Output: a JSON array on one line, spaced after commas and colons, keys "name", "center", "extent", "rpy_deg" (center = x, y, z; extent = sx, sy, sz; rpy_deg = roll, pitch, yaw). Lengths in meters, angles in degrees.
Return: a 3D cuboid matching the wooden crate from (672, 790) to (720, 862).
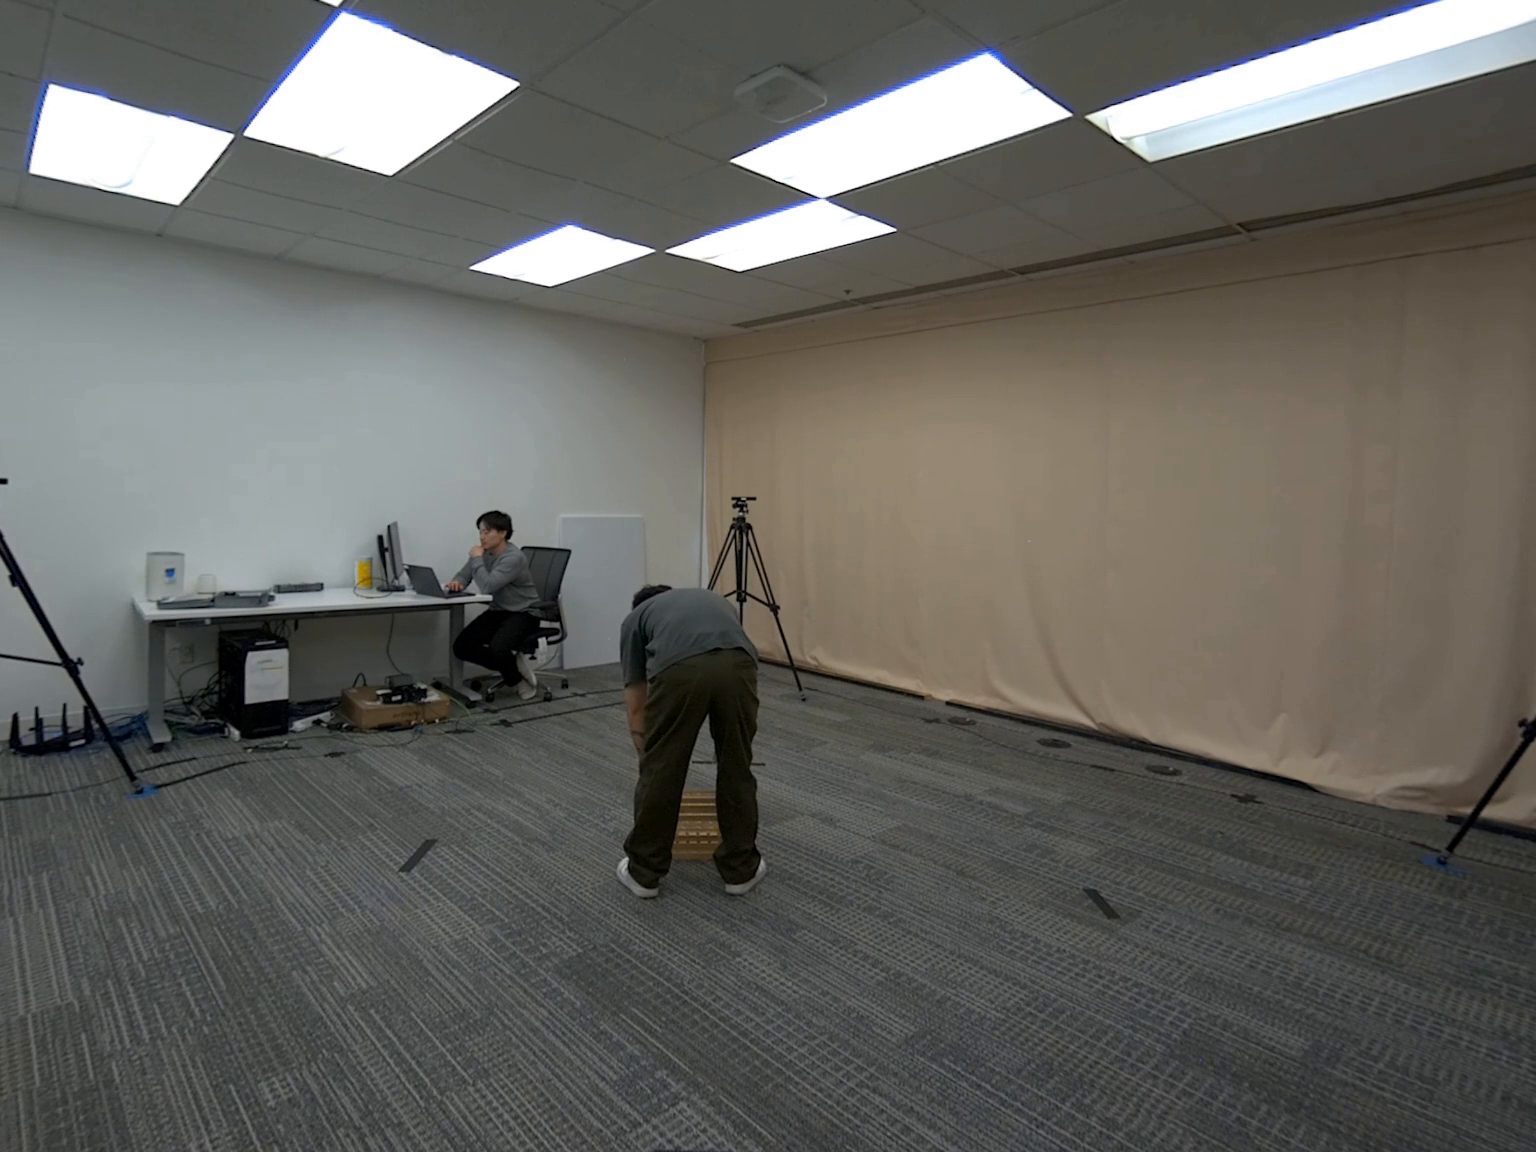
[{"name": "wooden crate", "center": [-0.301, 0.955, 3.334], "extent": [0.323, 0.273, 0.304], "rpy_deg": [1, 4, -6]}]
